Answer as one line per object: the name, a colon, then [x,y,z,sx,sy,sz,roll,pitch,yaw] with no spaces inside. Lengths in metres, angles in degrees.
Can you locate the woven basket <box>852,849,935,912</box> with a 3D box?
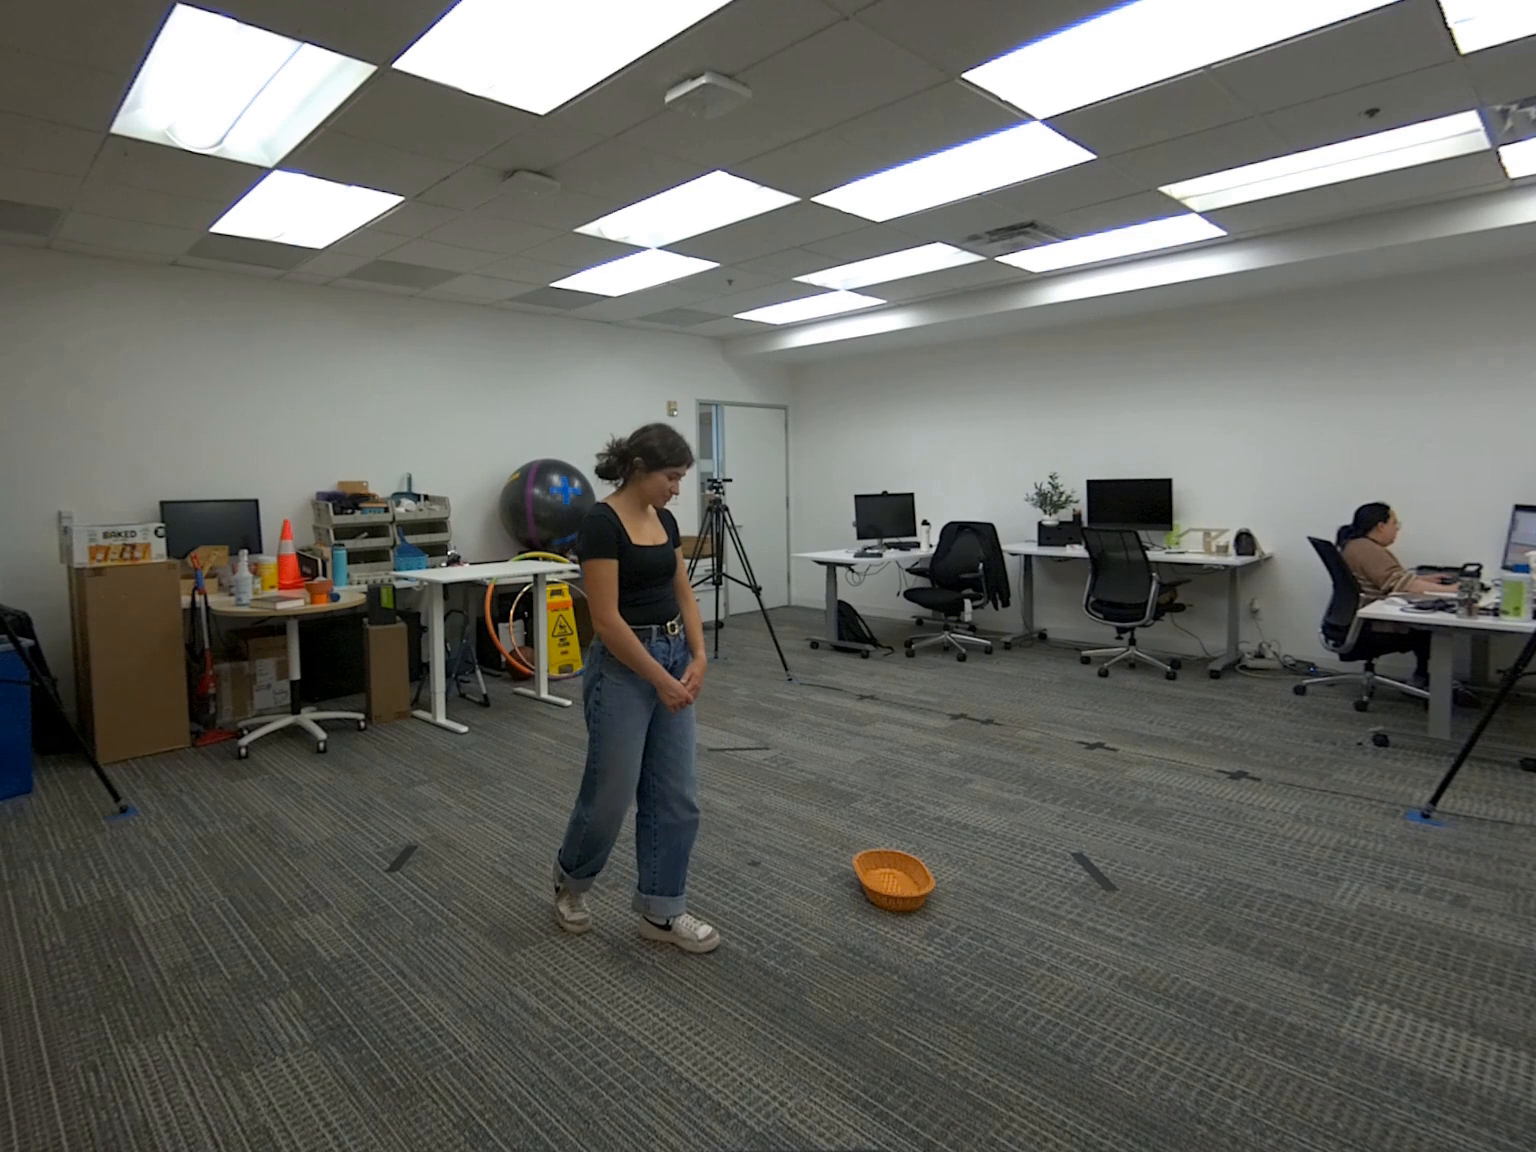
woven basket: [0.424,1.026,2.878,0.251,0.073,0.353,0,6,-5]
